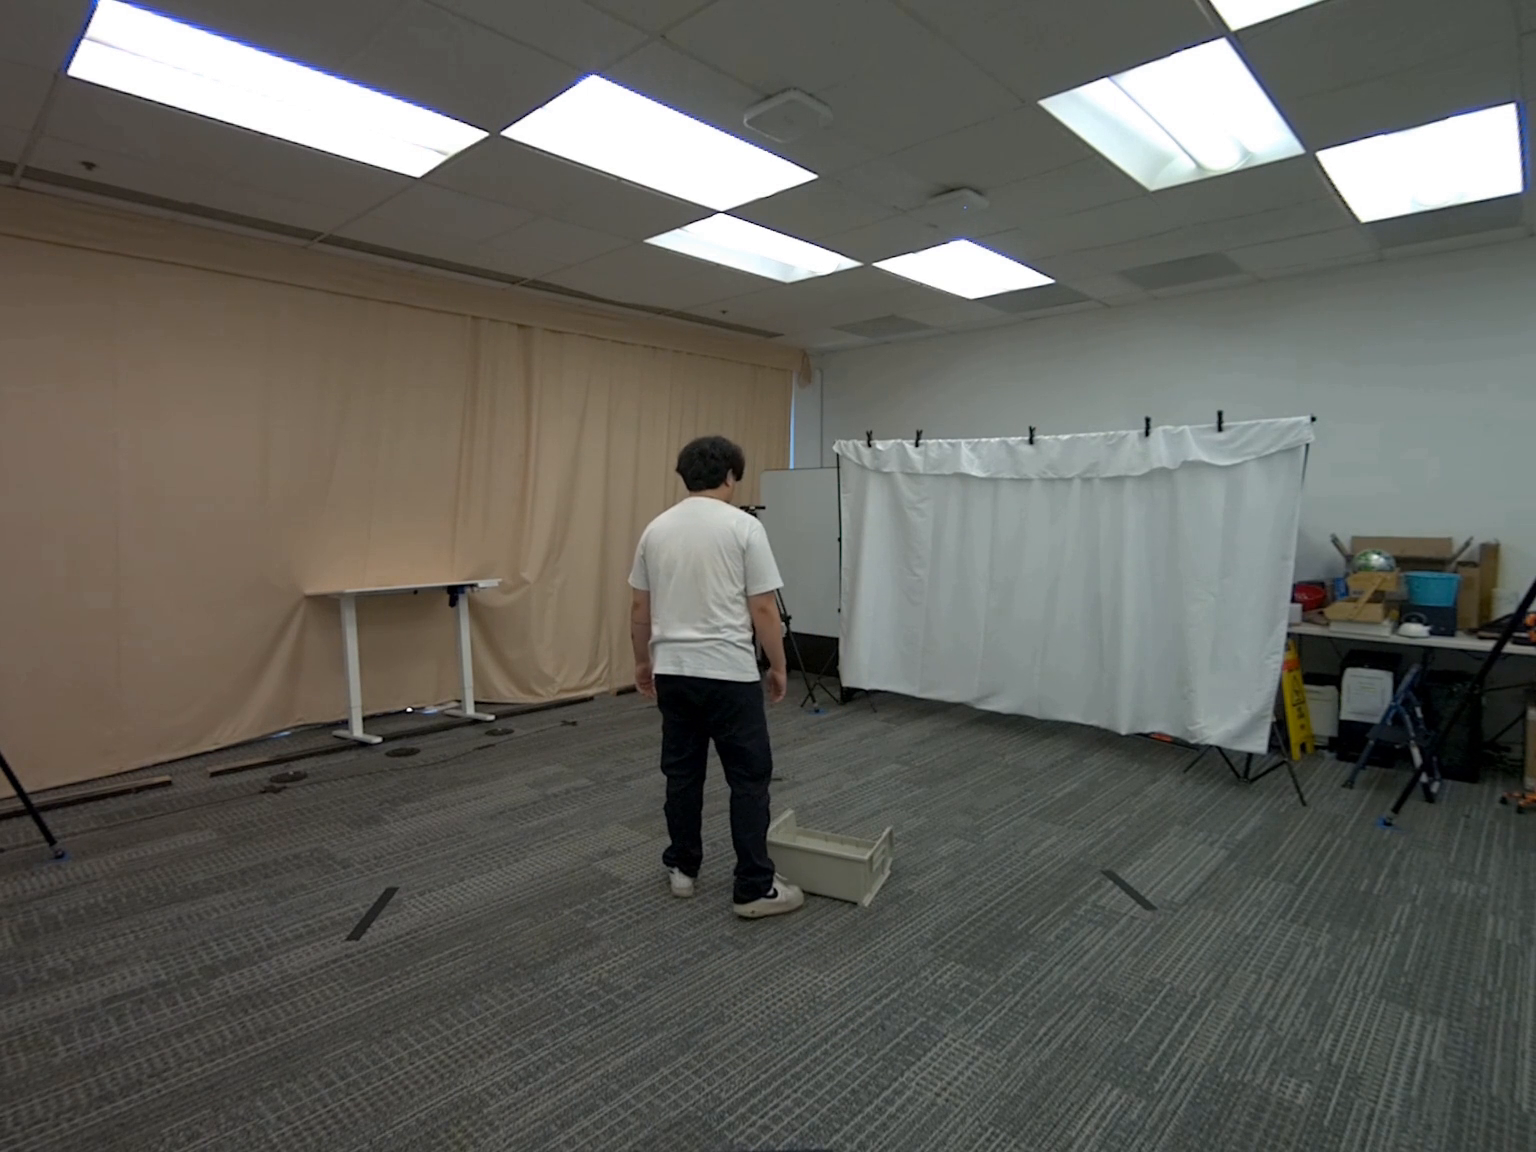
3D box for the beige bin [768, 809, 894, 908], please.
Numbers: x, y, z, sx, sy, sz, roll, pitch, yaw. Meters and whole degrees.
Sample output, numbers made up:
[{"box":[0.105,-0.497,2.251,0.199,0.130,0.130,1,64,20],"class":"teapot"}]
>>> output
[{"box":[0.224,1.040,3.159,0.433,0.188,0.369,2,6,25],"class":"beige bin"}]
